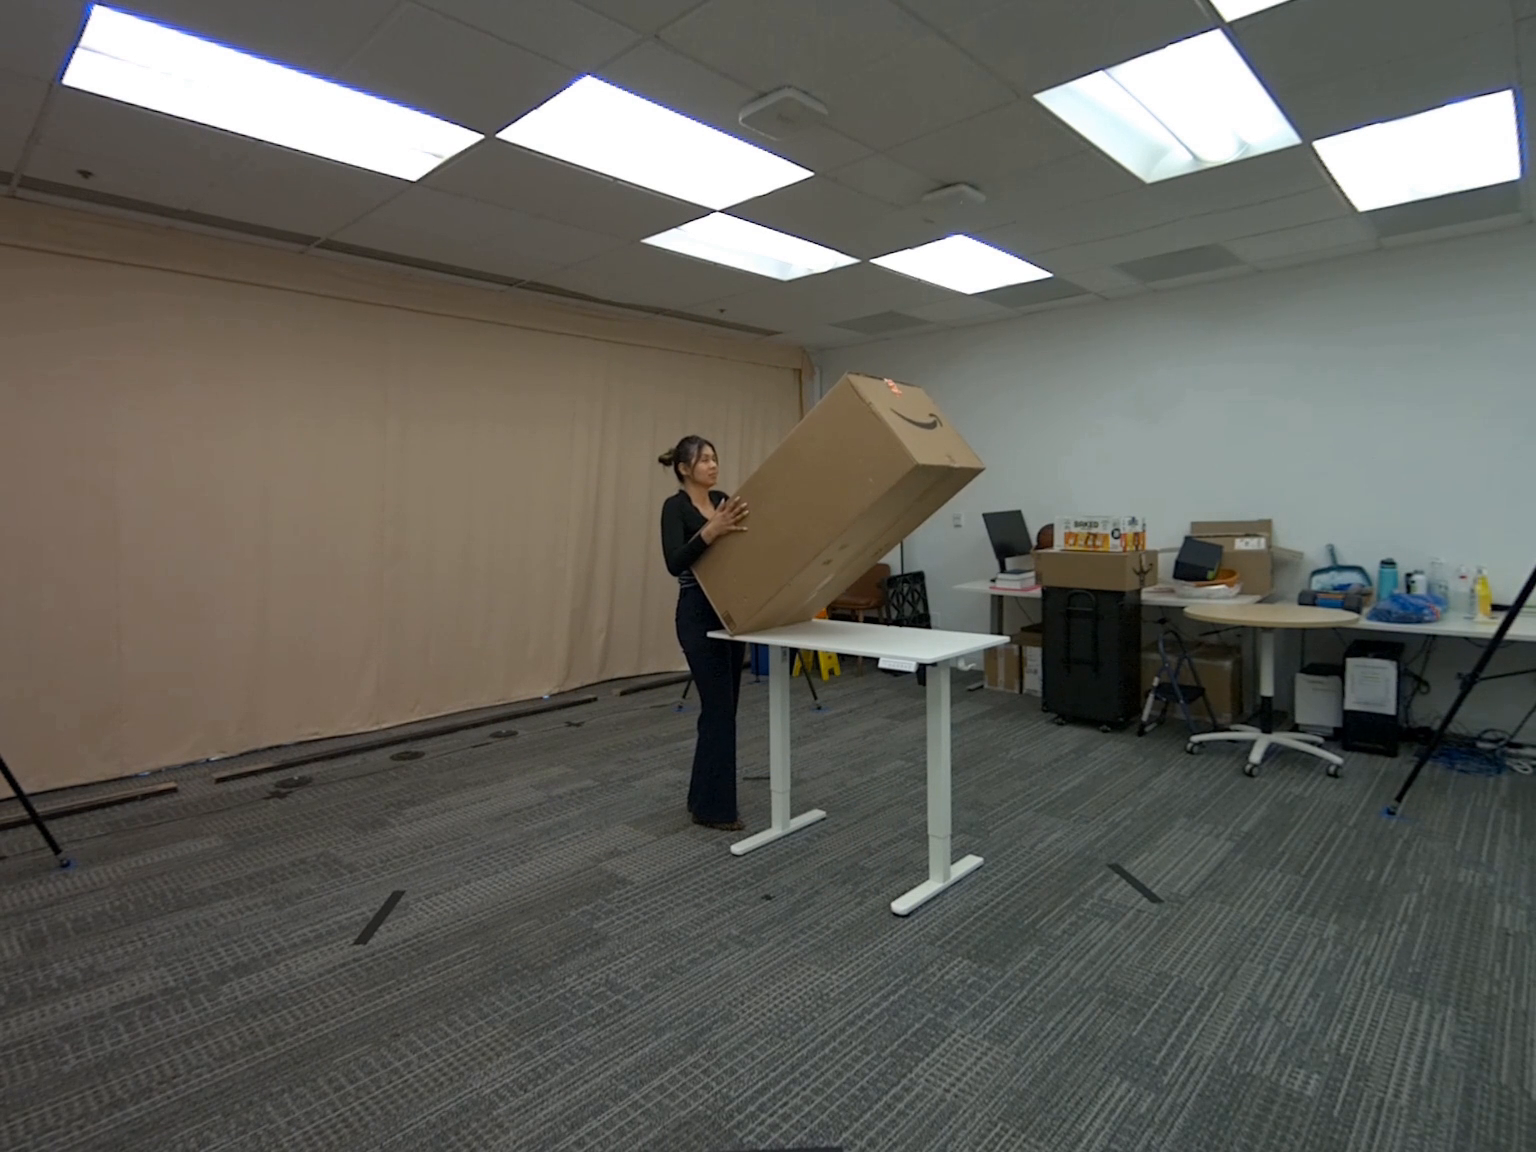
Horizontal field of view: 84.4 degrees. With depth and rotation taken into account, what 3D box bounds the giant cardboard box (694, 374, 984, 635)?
[{"bbox_3d":[0.239,-0.243,3.292,0.560,0.436,1.034,-5,-33,-52],"label":"giant cardboard box"}]
